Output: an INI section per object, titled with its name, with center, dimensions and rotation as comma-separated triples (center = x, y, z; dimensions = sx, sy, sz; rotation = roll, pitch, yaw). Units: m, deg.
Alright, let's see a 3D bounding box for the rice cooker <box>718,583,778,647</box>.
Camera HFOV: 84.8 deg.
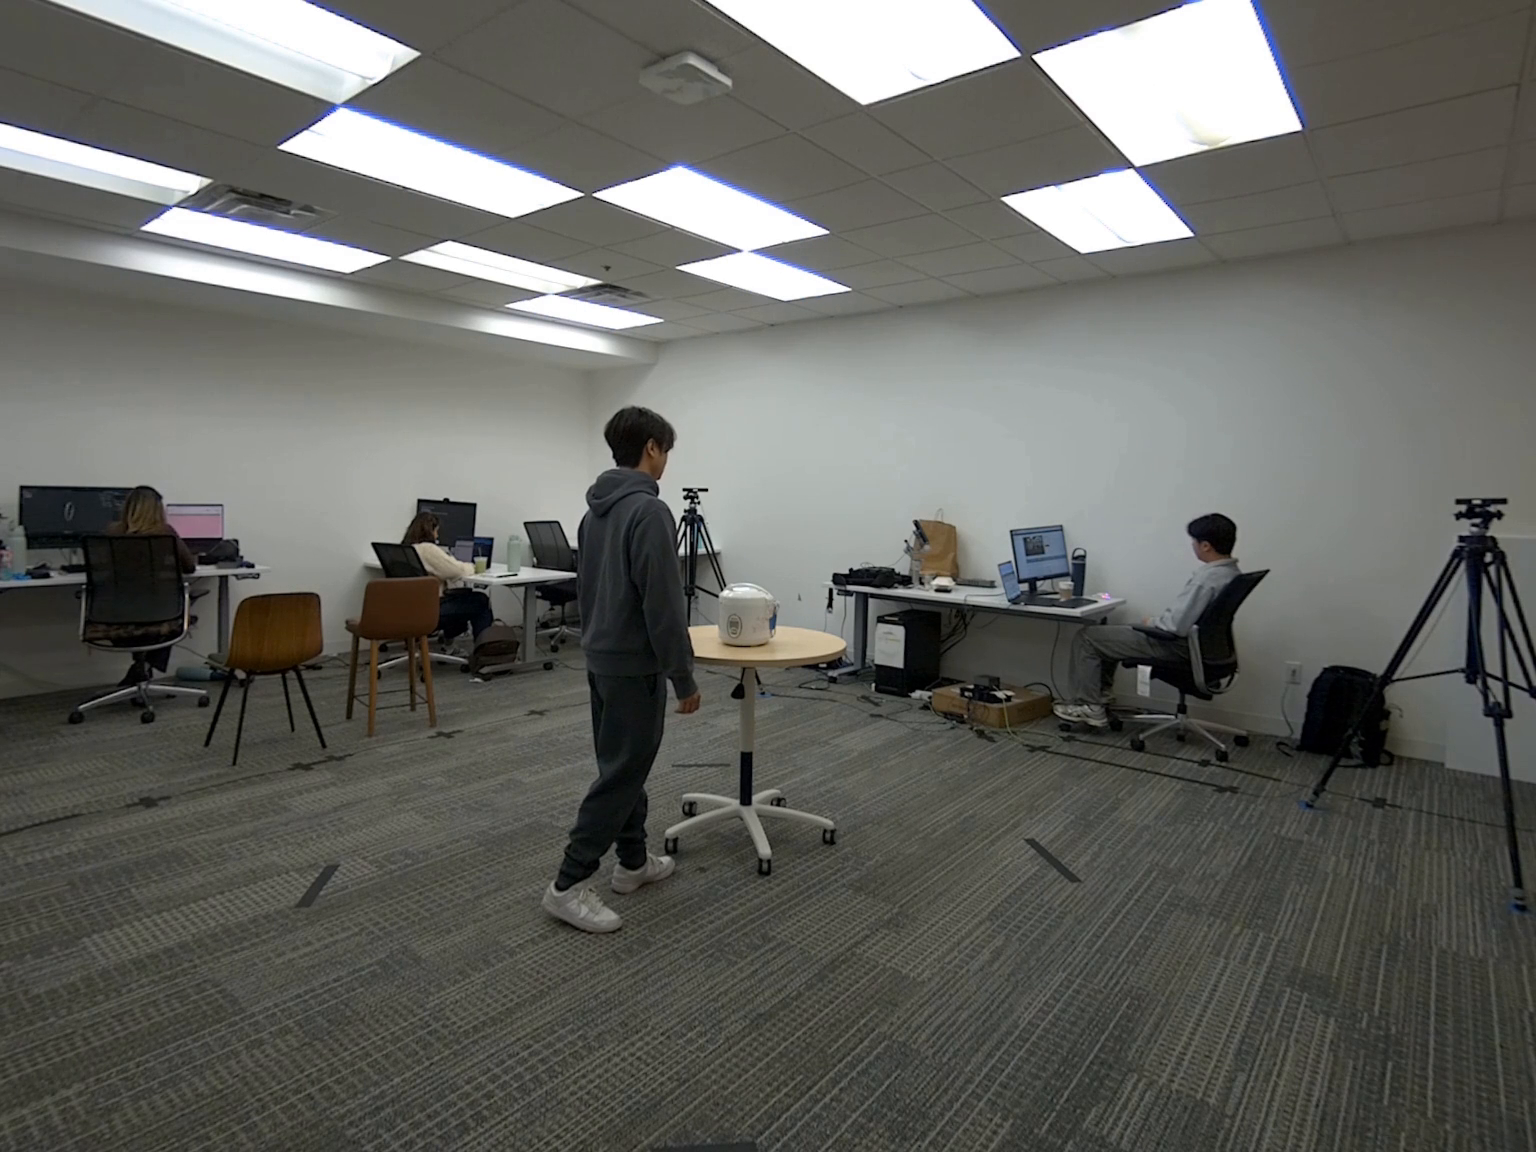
[rice cooker]
center = -0.095, 0.142, 3.291
dimensions = 0.226, 0.232, 0.213
rotation = 3, 4, 23
